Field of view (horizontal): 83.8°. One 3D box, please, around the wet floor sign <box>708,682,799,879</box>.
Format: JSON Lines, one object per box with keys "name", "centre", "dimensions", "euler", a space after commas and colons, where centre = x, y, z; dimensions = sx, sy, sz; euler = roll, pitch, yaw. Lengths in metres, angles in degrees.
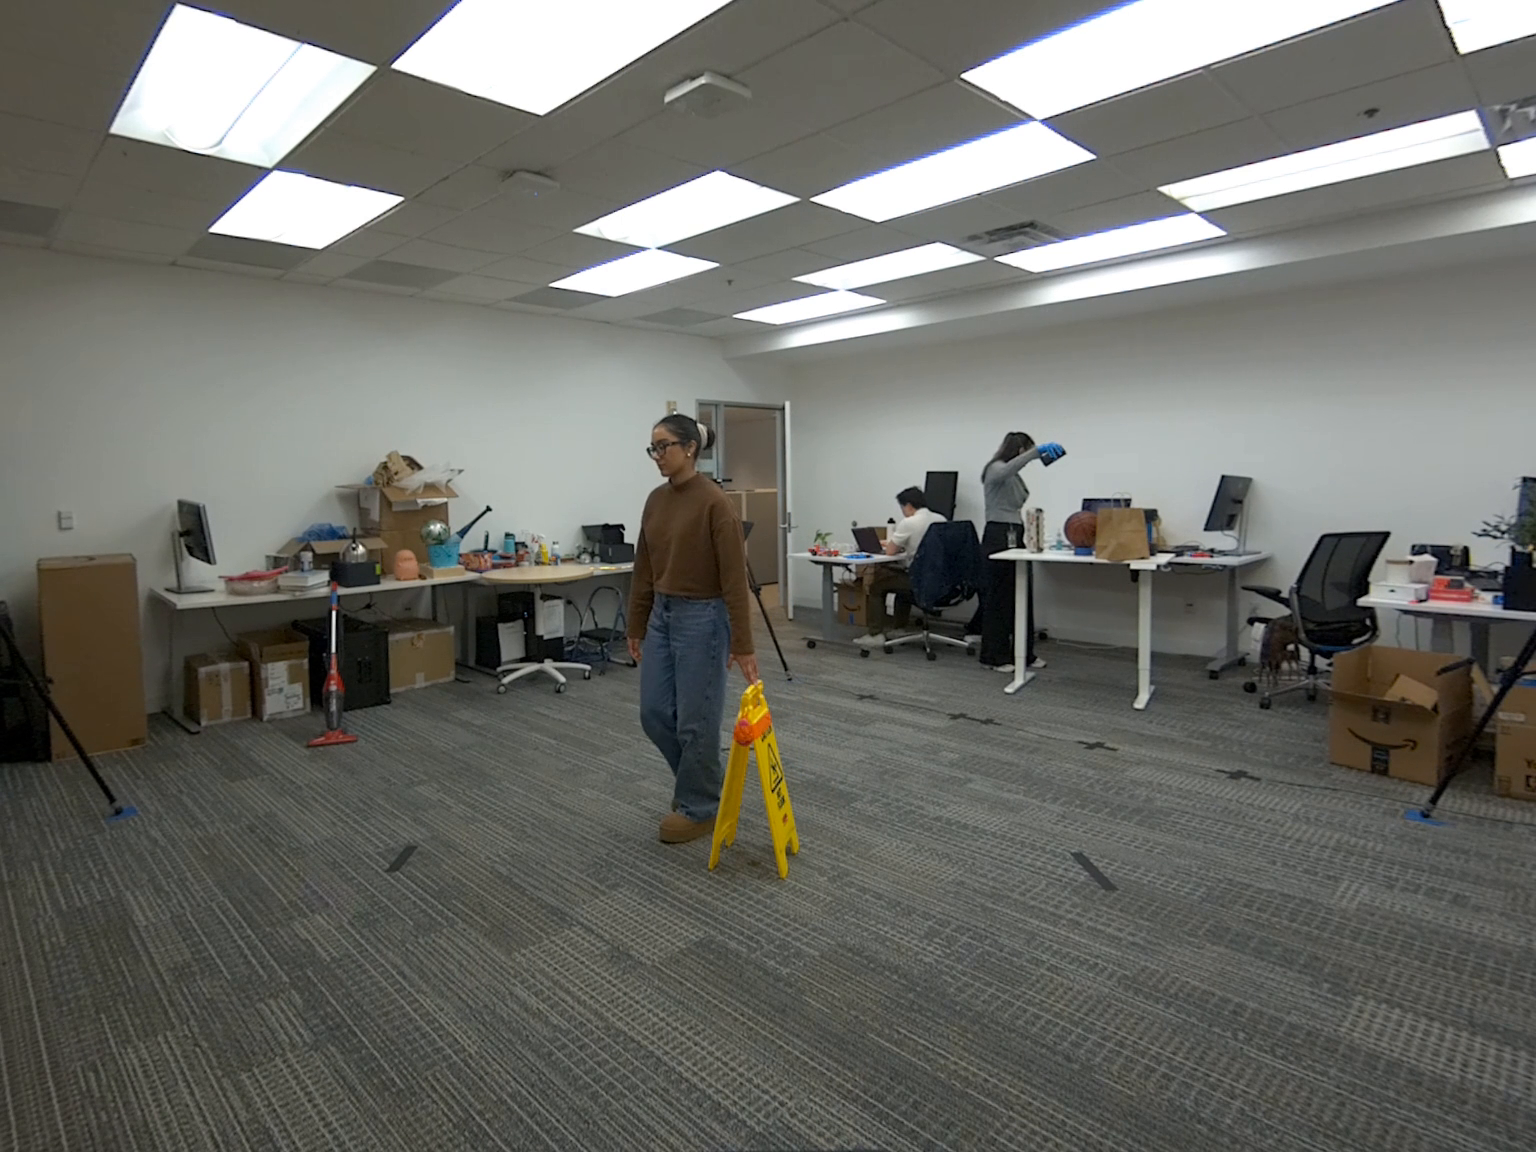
{"name": "wet floor sign", "centre": [-0.052, 0.719, 3.125], "dimensions": [0.294, 0.644, 0.279], "euler": [0, 3, 15]}
